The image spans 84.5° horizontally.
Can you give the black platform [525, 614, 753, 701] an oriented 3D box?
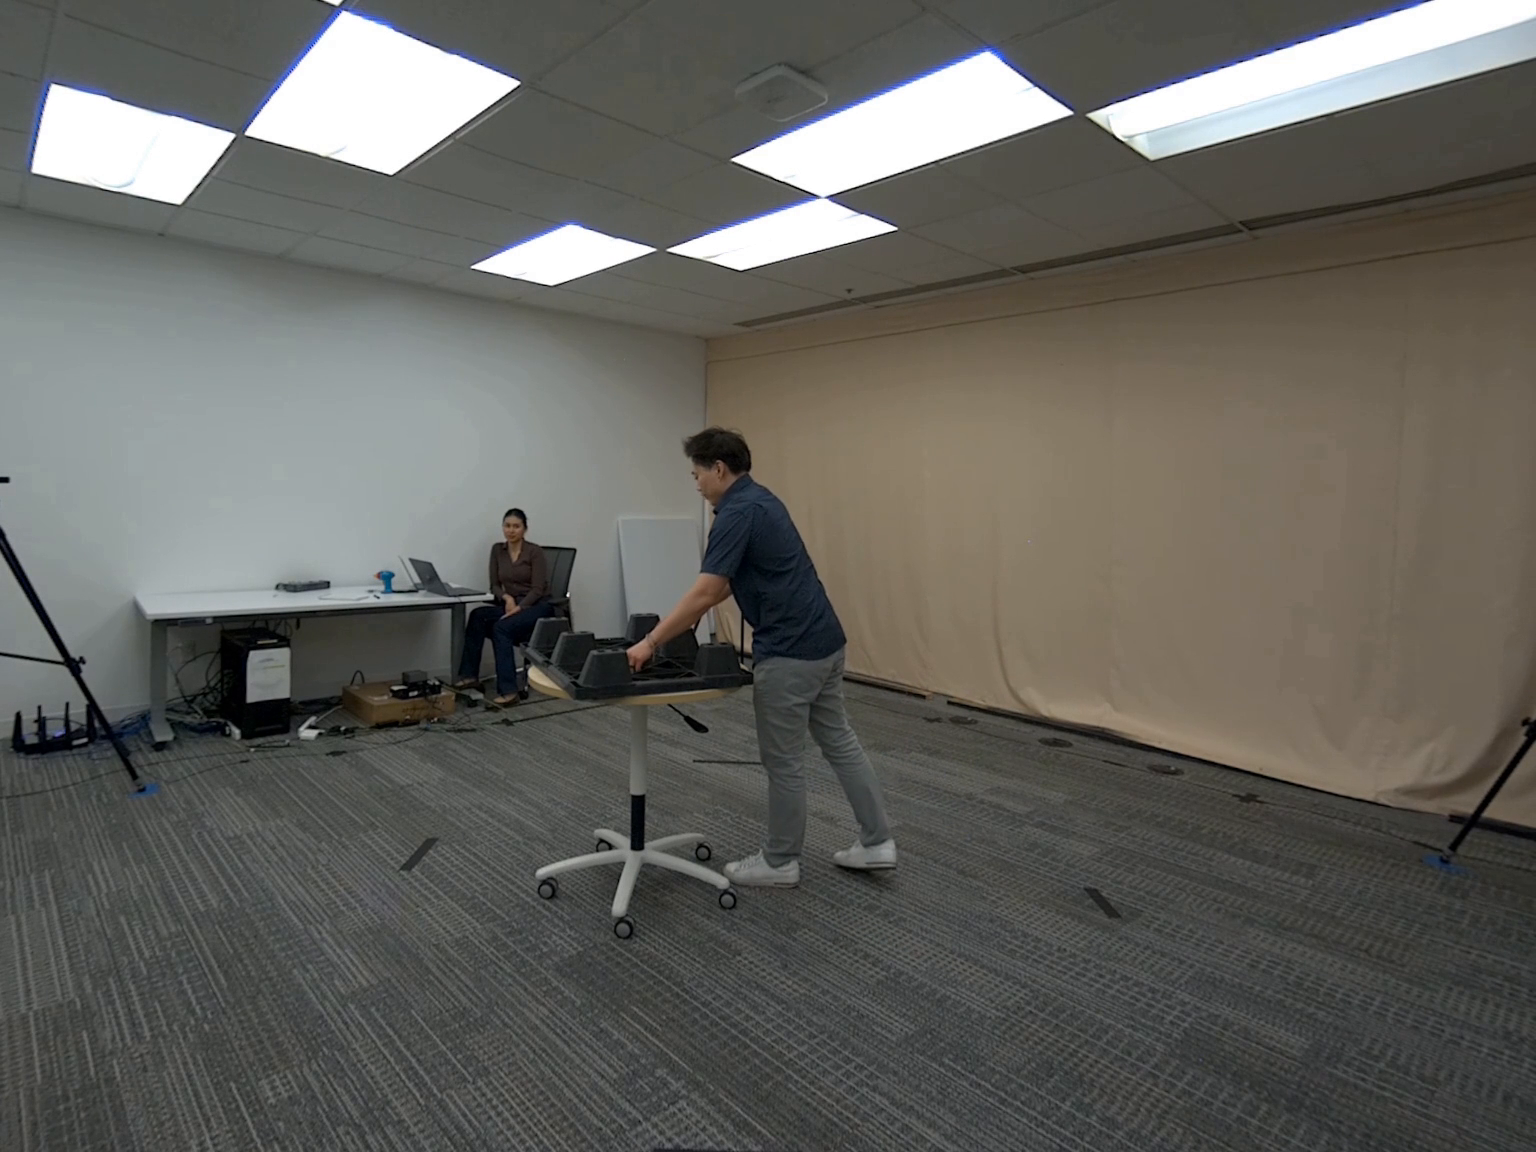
[{"bbox_3d":[-0.502,0.261,2.963,0.593,0.143,0.823,-1,6,-28],"label":"black platform"}]
